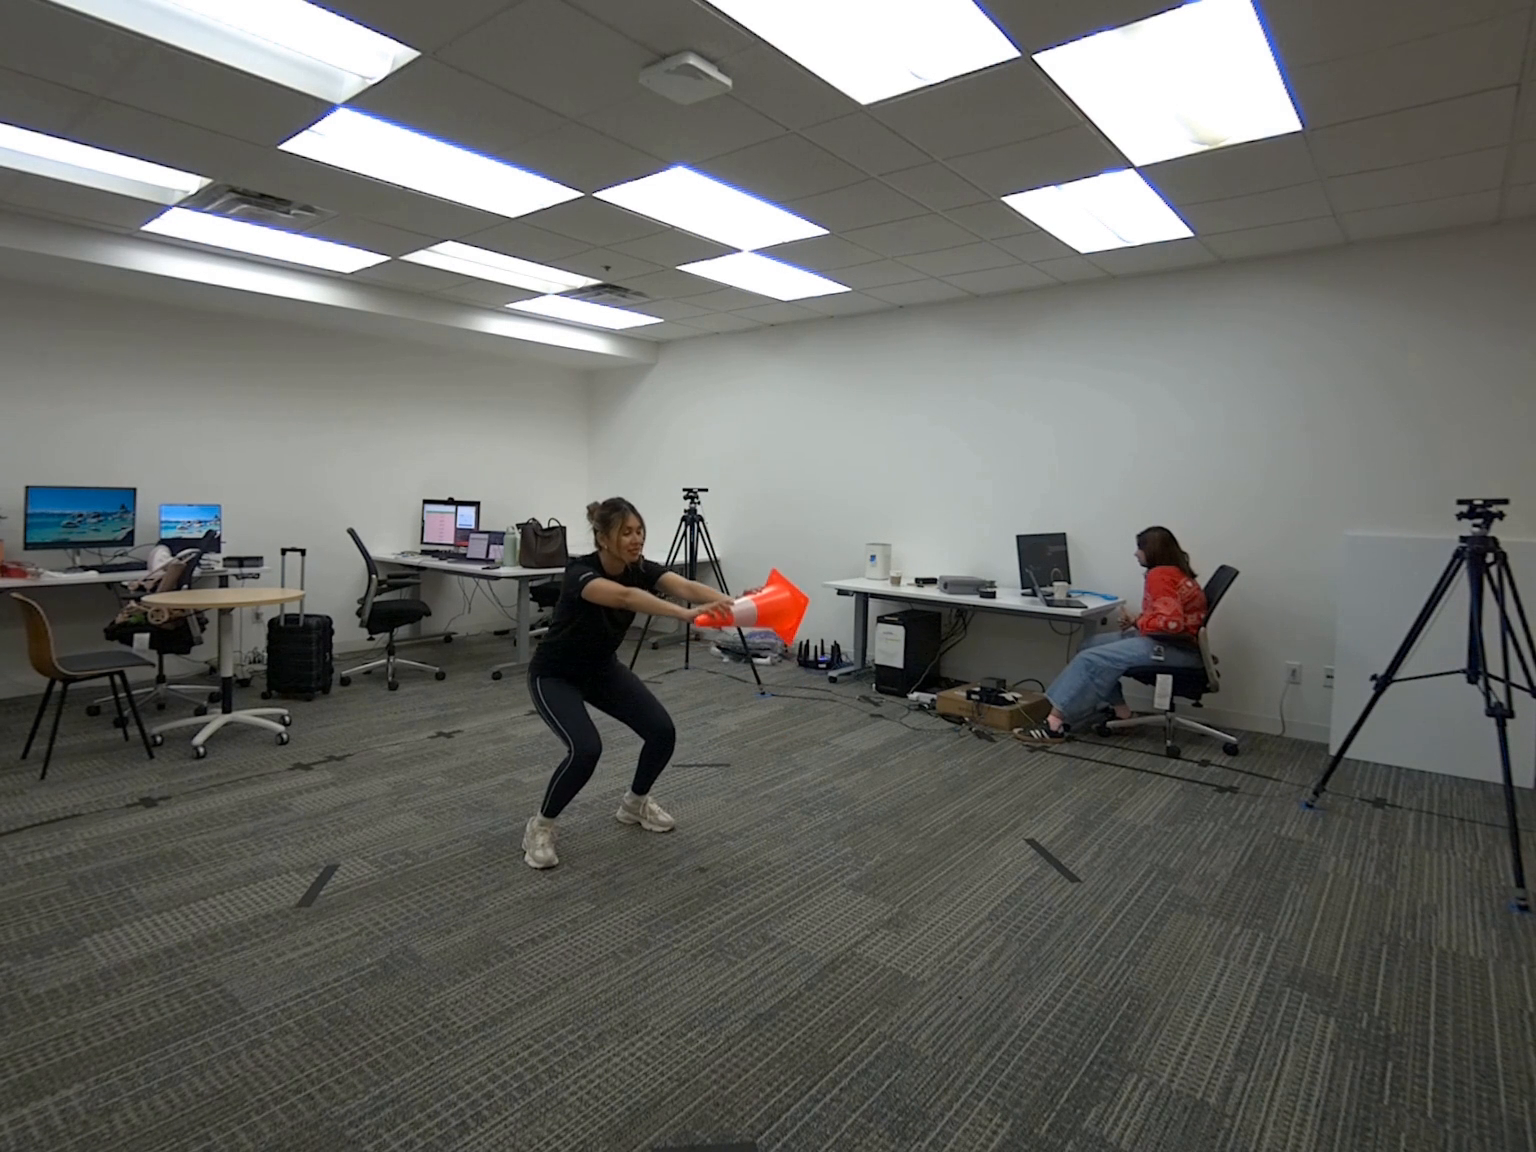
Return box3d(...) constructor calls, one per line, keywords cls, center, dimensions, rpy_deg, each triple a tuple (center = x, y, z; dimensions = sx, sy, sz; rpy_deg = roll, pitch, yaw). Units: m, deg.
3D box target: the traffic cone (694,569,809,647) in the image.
box3d(cls="traffic cone", center=(-0.104, 0.121, 2.785), dimensions=(0.373, 0.202, 0.212), rpy_deg=(-9, 38, -41))
